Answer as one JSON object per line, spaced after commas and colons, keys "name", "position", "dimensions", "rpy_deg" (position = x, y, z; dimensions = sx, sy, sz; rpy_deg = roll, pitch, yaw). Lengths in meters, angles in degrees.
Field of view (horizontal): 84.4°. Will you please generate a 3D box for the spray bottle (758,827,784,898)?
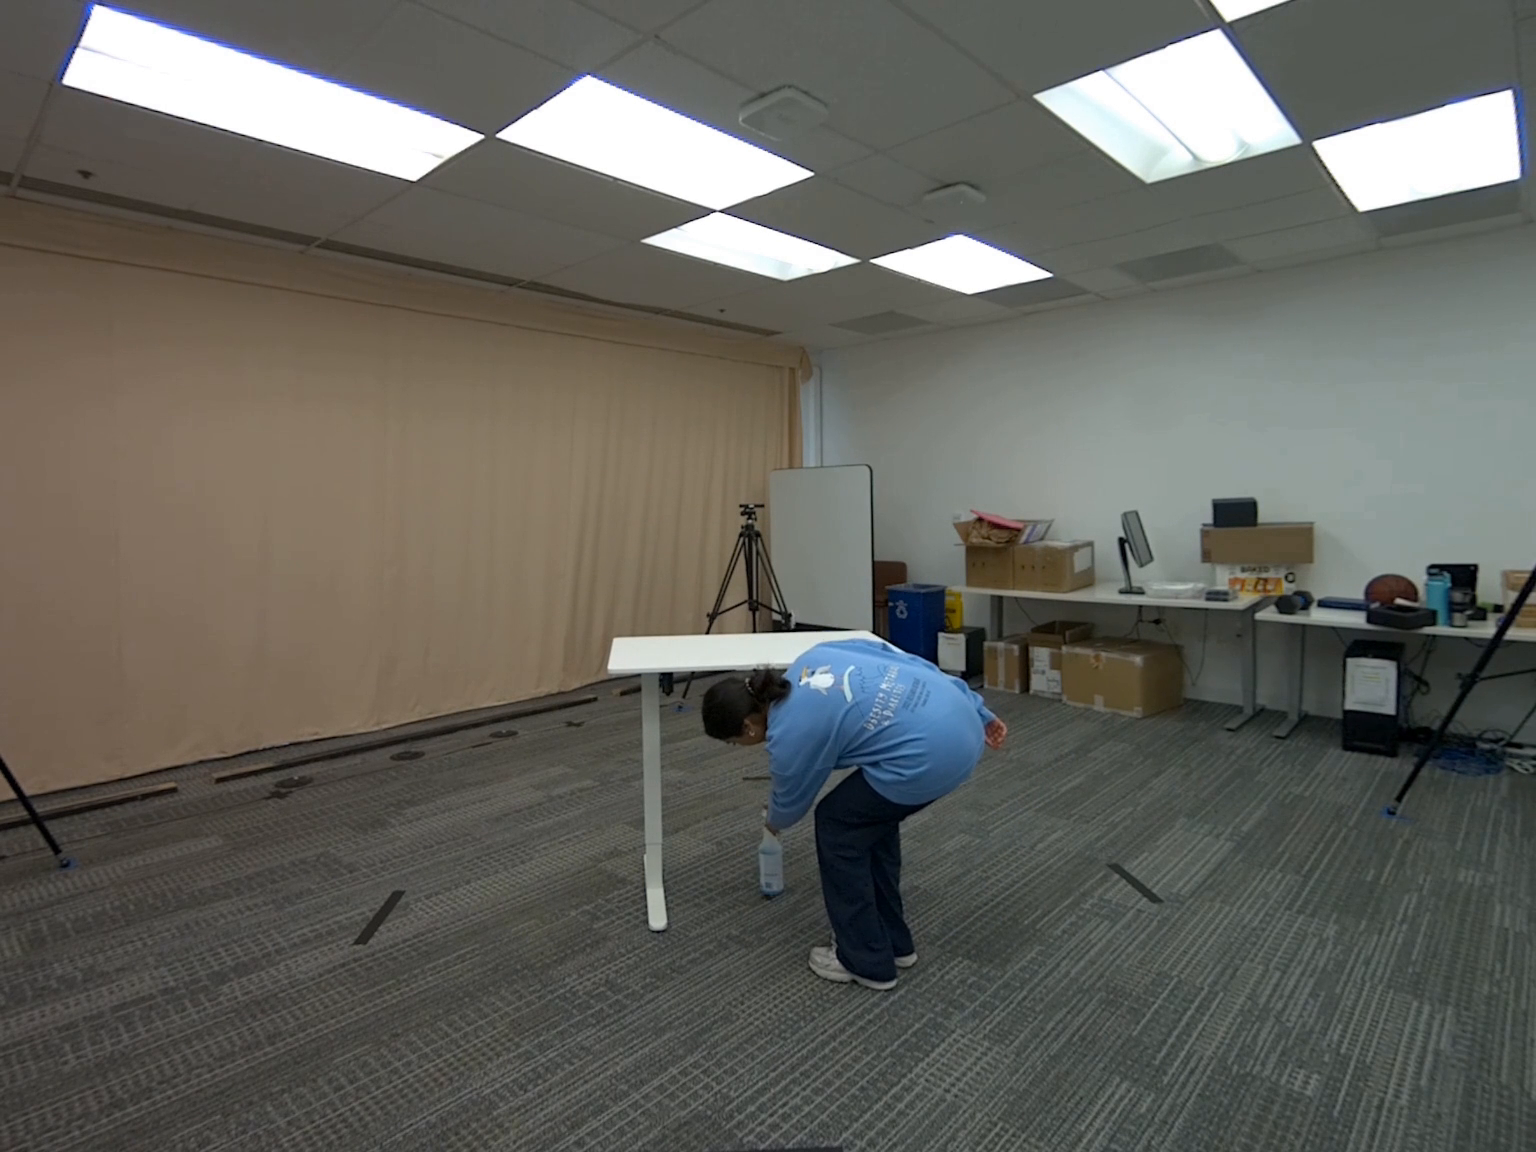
{"name": "spray bottle", "position": [0.008, 0.988, 3.019], "dimensions": [0.086, 0.297, 0.091], "rpy_deg": [-2, 3, -10]}
